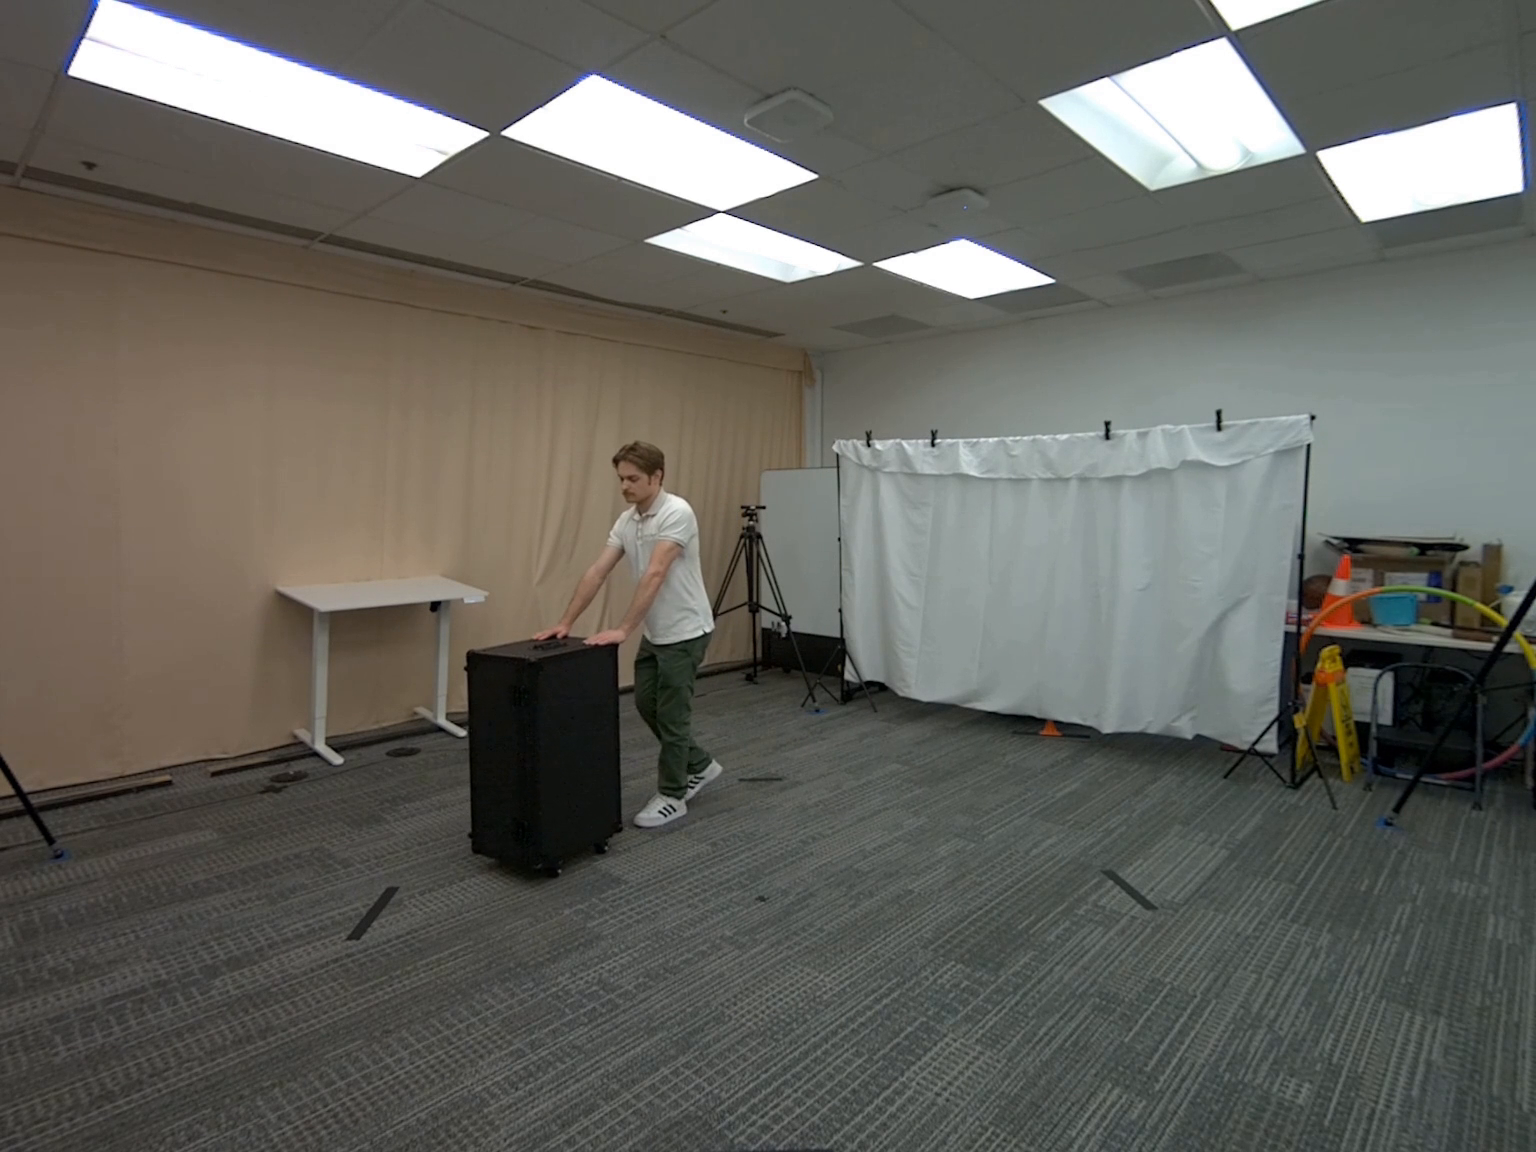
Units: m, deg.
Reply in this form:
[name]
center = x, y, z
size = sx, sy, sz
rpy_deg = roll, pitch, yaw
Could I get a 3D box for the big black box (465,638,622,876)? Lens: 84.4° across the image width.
[big black box]
center = -0.878, 0.700, 3.320
size = 0.396, 0.867, 0.509
rpy_deg = 1, 3, 31
